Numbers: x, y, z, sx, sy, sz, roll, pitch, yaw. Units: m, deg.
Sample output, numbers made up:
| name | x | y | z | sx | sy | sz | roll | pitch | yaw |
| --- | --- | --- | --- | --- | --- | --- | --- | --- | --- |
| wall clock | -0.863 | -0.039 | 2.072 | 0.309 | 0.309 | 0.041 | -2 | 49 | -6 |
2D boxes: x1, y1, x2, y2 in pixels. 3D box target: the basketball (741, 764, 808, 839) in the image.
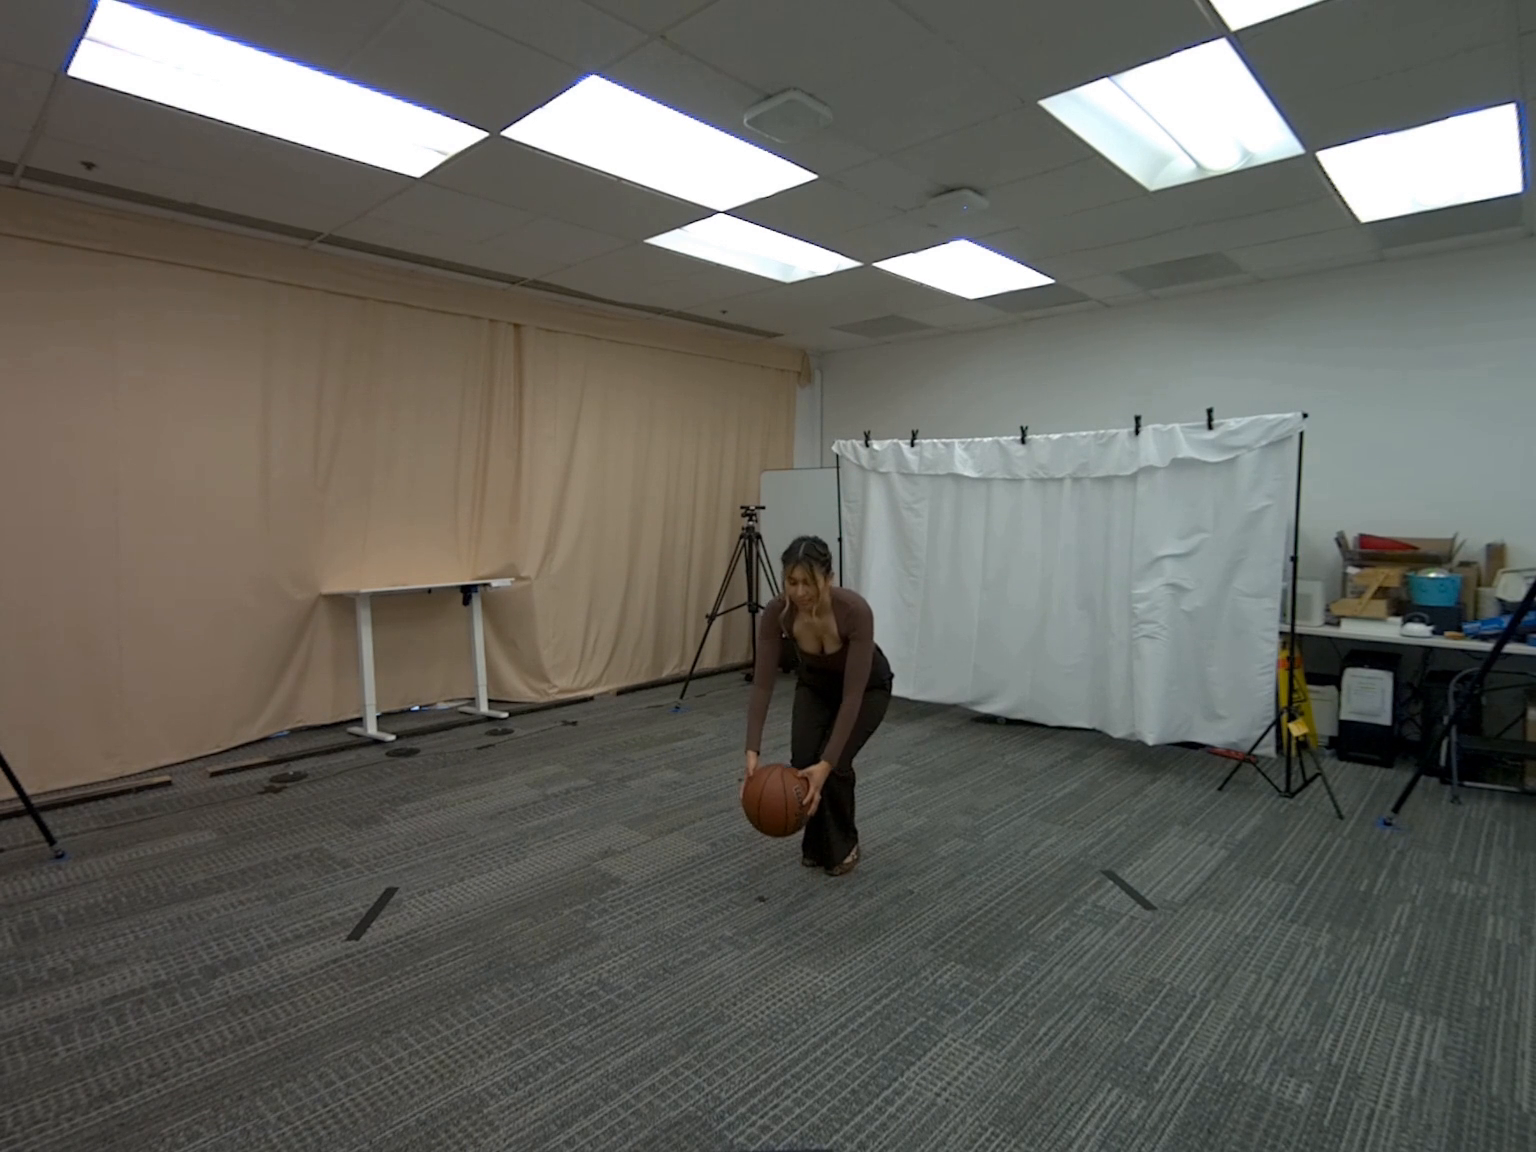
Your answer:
| name | x | y | z | sx | sy | sz | roll | pitch | yaw |
| --- | --- | --- | --- | --- | --- | --- | --- | --- | --- |
| basketball | 0.037 | 0.739 | 2.815 | 0.236 | 0.235 | 0.237 | 0 | 4 | -2 |
